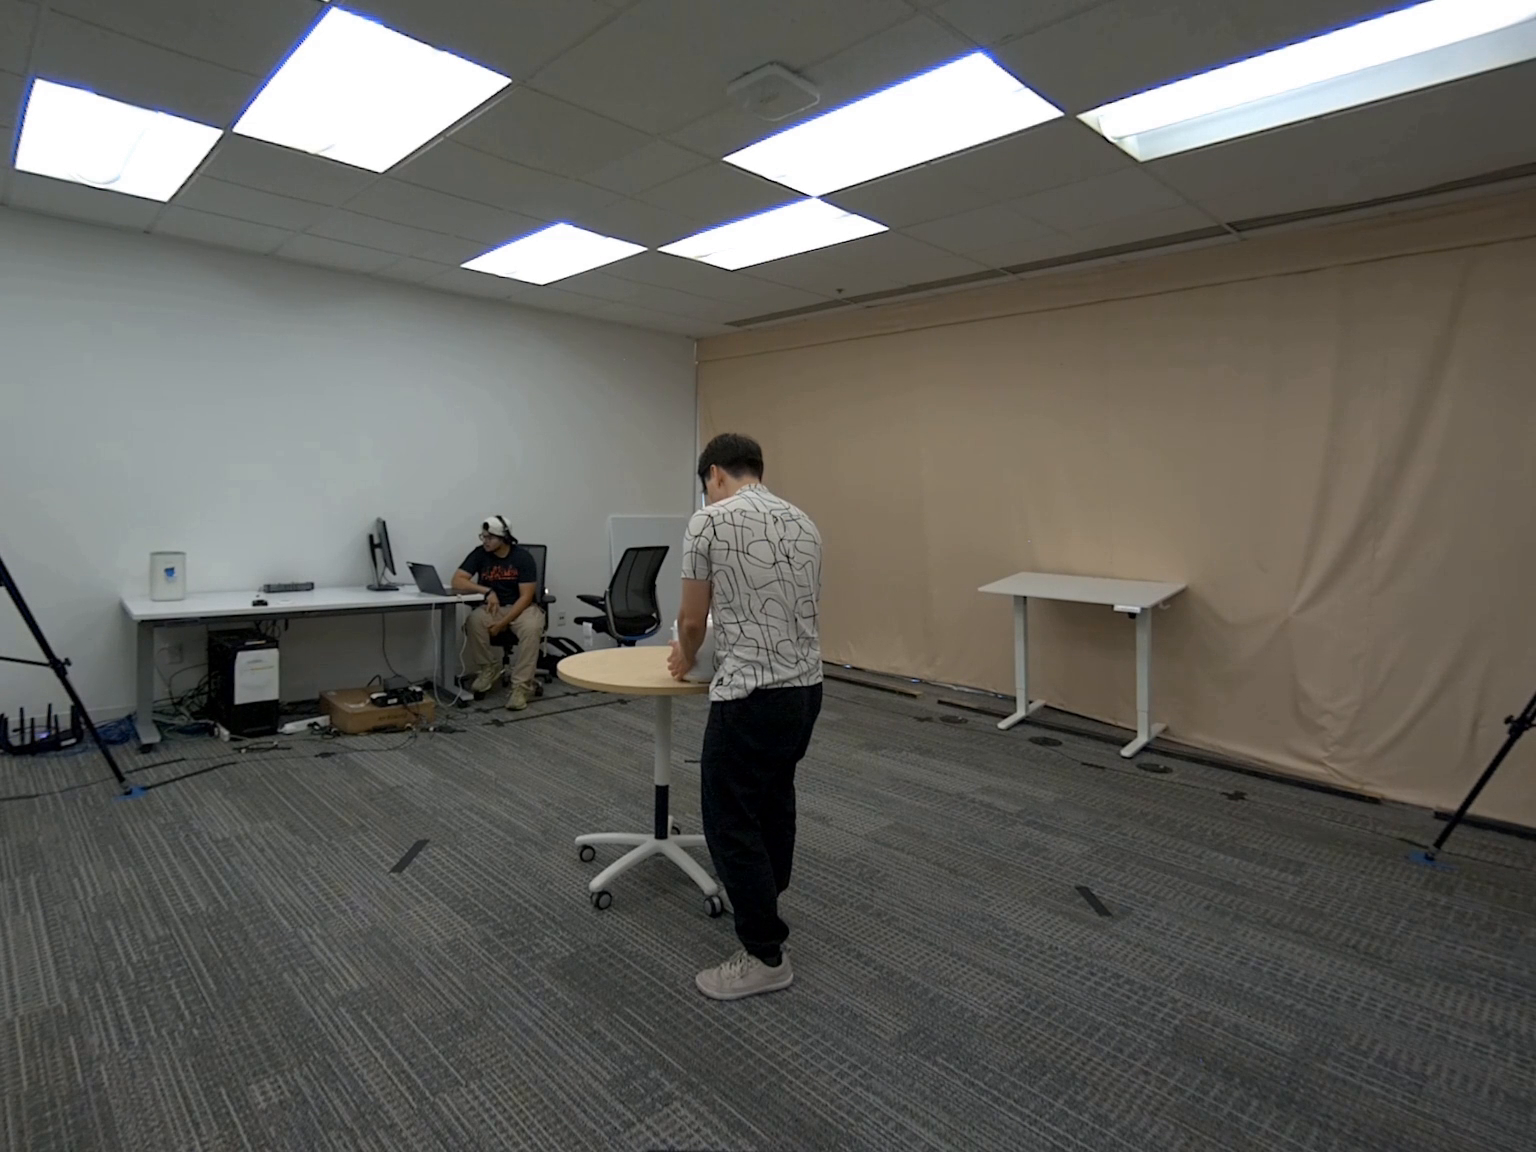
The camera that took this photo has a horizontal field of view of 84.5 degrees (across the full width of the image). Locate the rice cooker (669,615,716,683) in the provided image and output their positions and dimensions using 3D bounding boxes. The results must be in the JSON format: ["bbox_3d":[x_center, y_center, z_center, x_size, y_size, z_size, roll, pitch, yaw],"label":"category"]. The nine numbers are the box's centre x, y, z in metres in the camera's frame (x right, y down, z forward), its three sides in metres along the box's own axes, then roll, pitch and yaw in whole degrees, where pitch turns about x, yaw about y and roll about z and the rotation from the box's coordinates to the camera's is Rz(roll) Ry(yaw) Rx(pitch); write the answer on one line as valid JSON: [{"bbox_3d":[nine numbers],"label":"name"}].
[{"bbox_3d":[-0.217,0.229,2.820,0.216,0.232,0.223,-2,5,-37],"label":"rice cooker"}]
